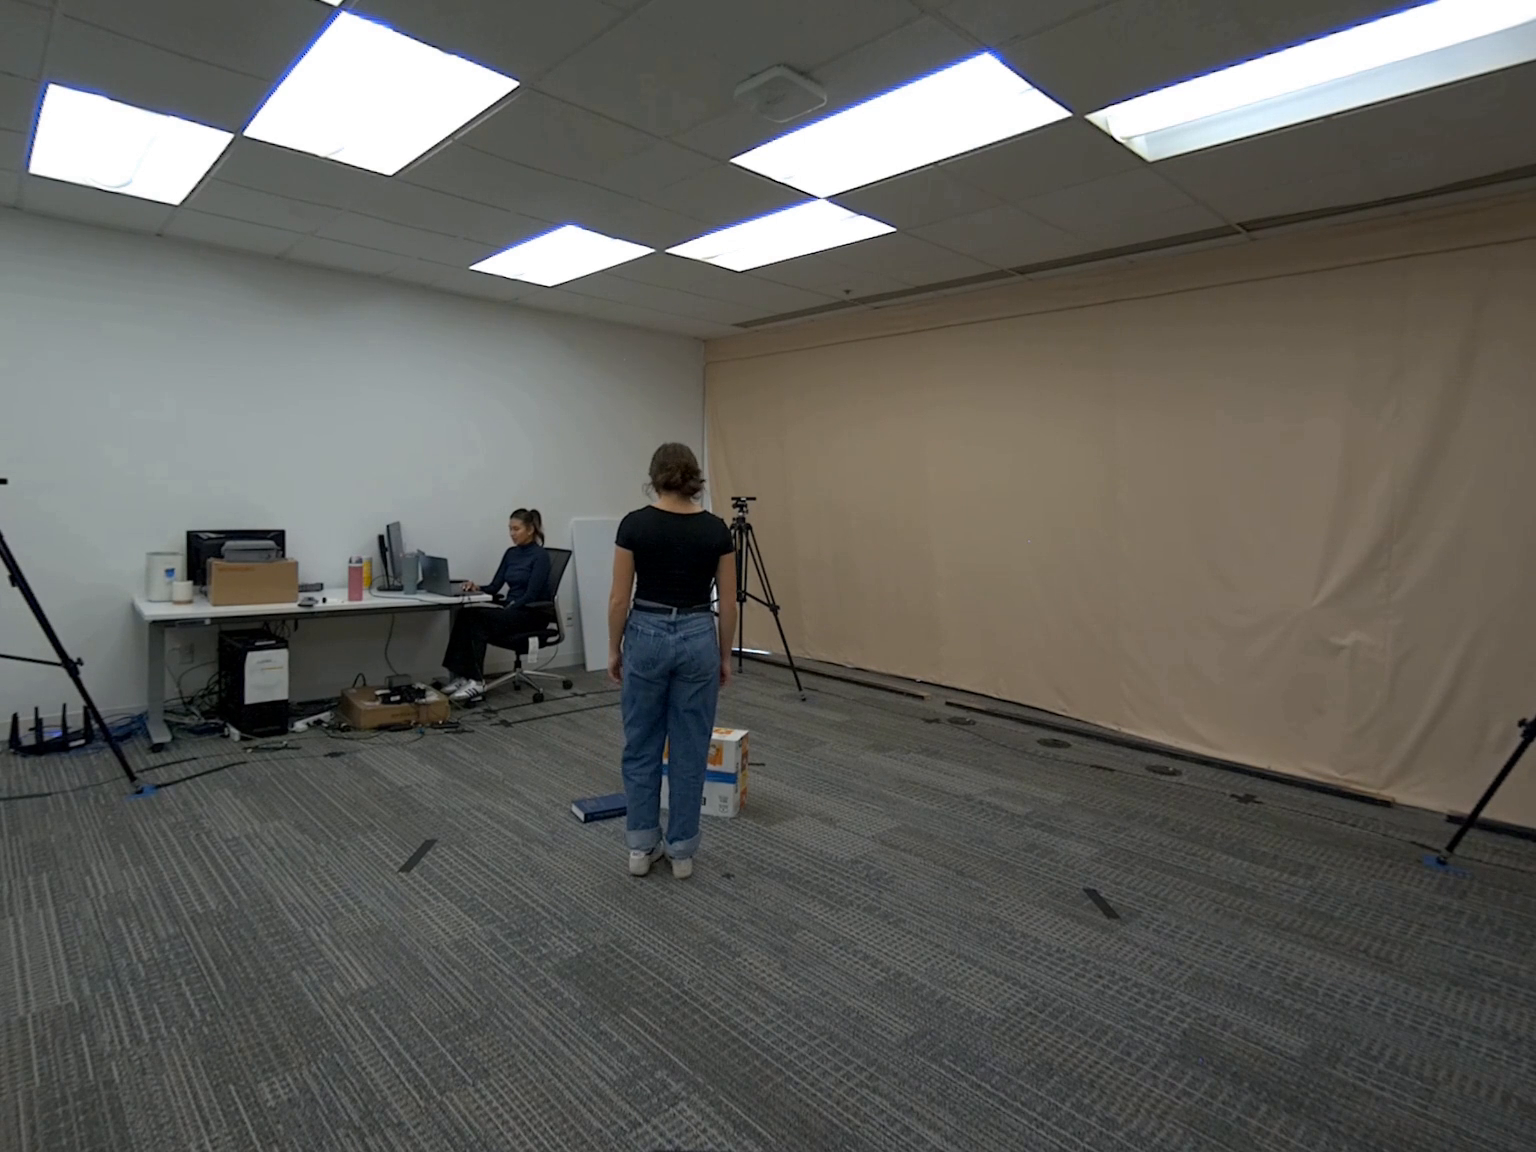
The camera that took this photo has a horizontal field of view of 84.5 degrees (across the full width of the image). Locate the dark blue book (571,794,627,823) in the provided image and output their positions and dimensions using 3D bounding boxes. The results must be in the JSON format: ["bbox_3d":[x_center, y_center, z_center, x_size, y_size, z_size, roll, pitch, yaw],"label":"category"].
[{"bbox_3d":[-0.736,1.021,3.703,0.240,0.045,0.167,-1,5,-32],"label":"dark blue book"}]
